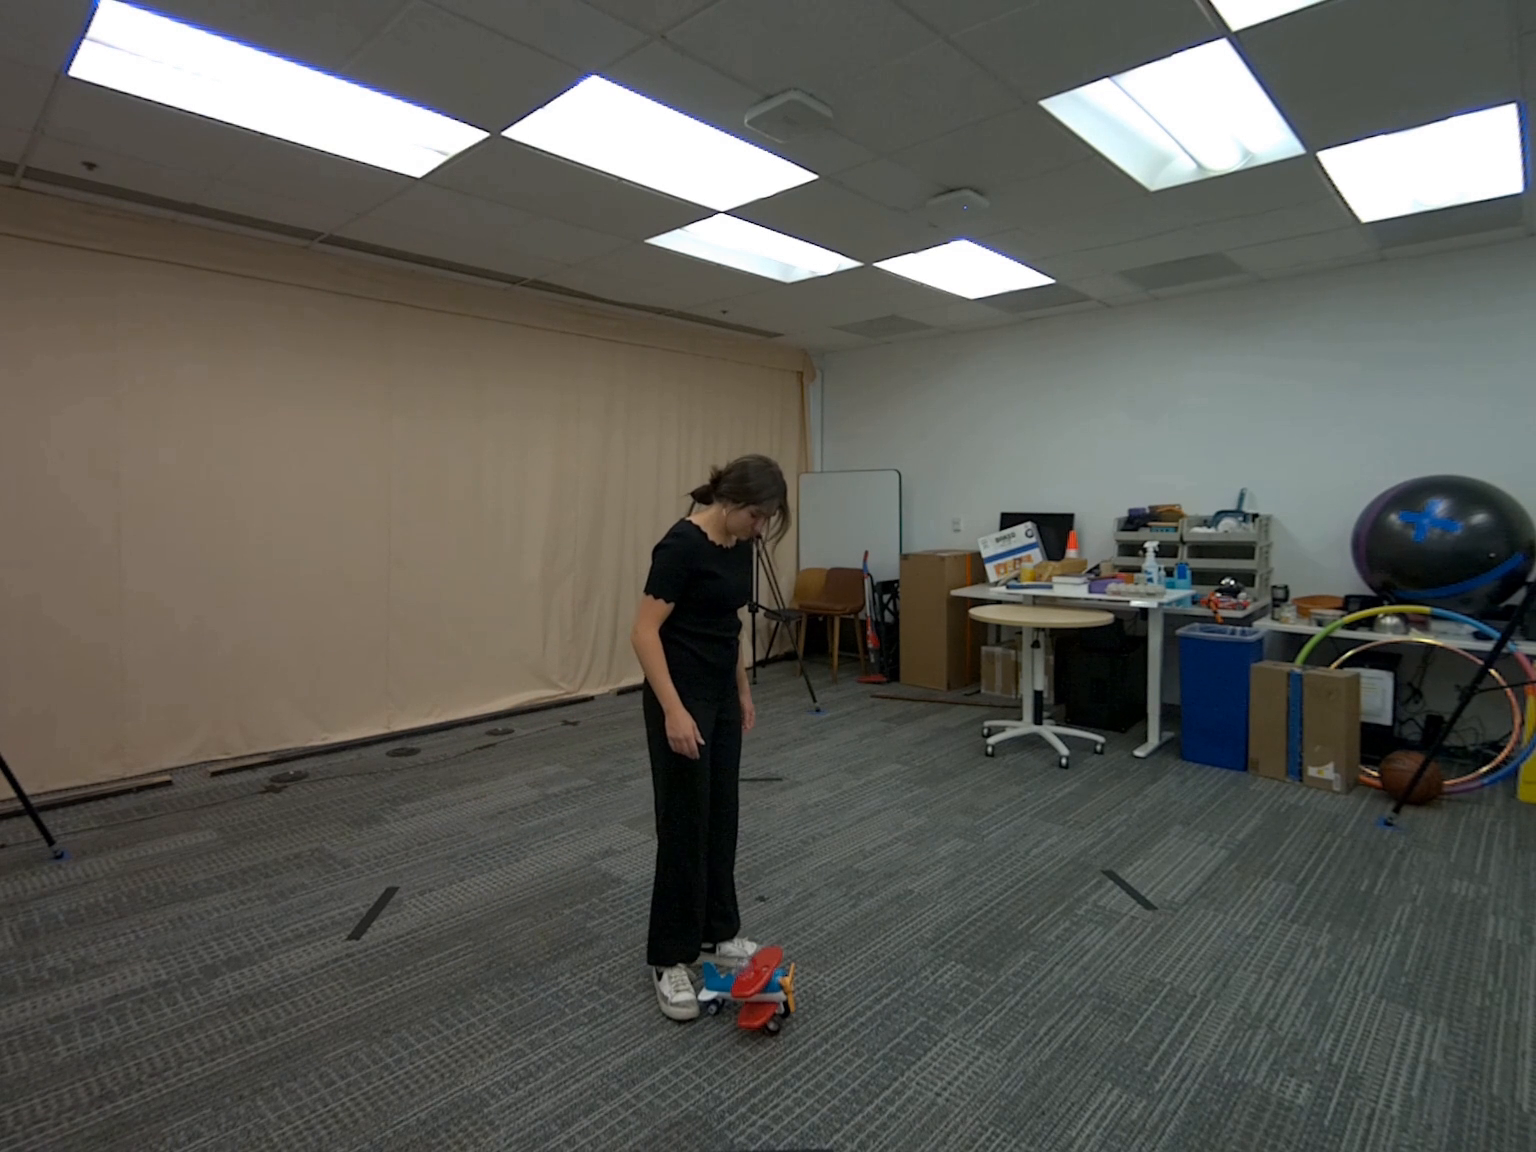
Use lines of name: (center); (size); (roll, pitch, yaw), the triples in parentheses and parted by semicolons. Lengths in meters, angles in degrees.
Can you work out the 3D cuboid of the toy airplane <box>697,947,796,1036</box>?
toy airplane: (-0.053, 1.131, 2.264); (0.257, 0.156, 0.253); (1, 4, -7)
